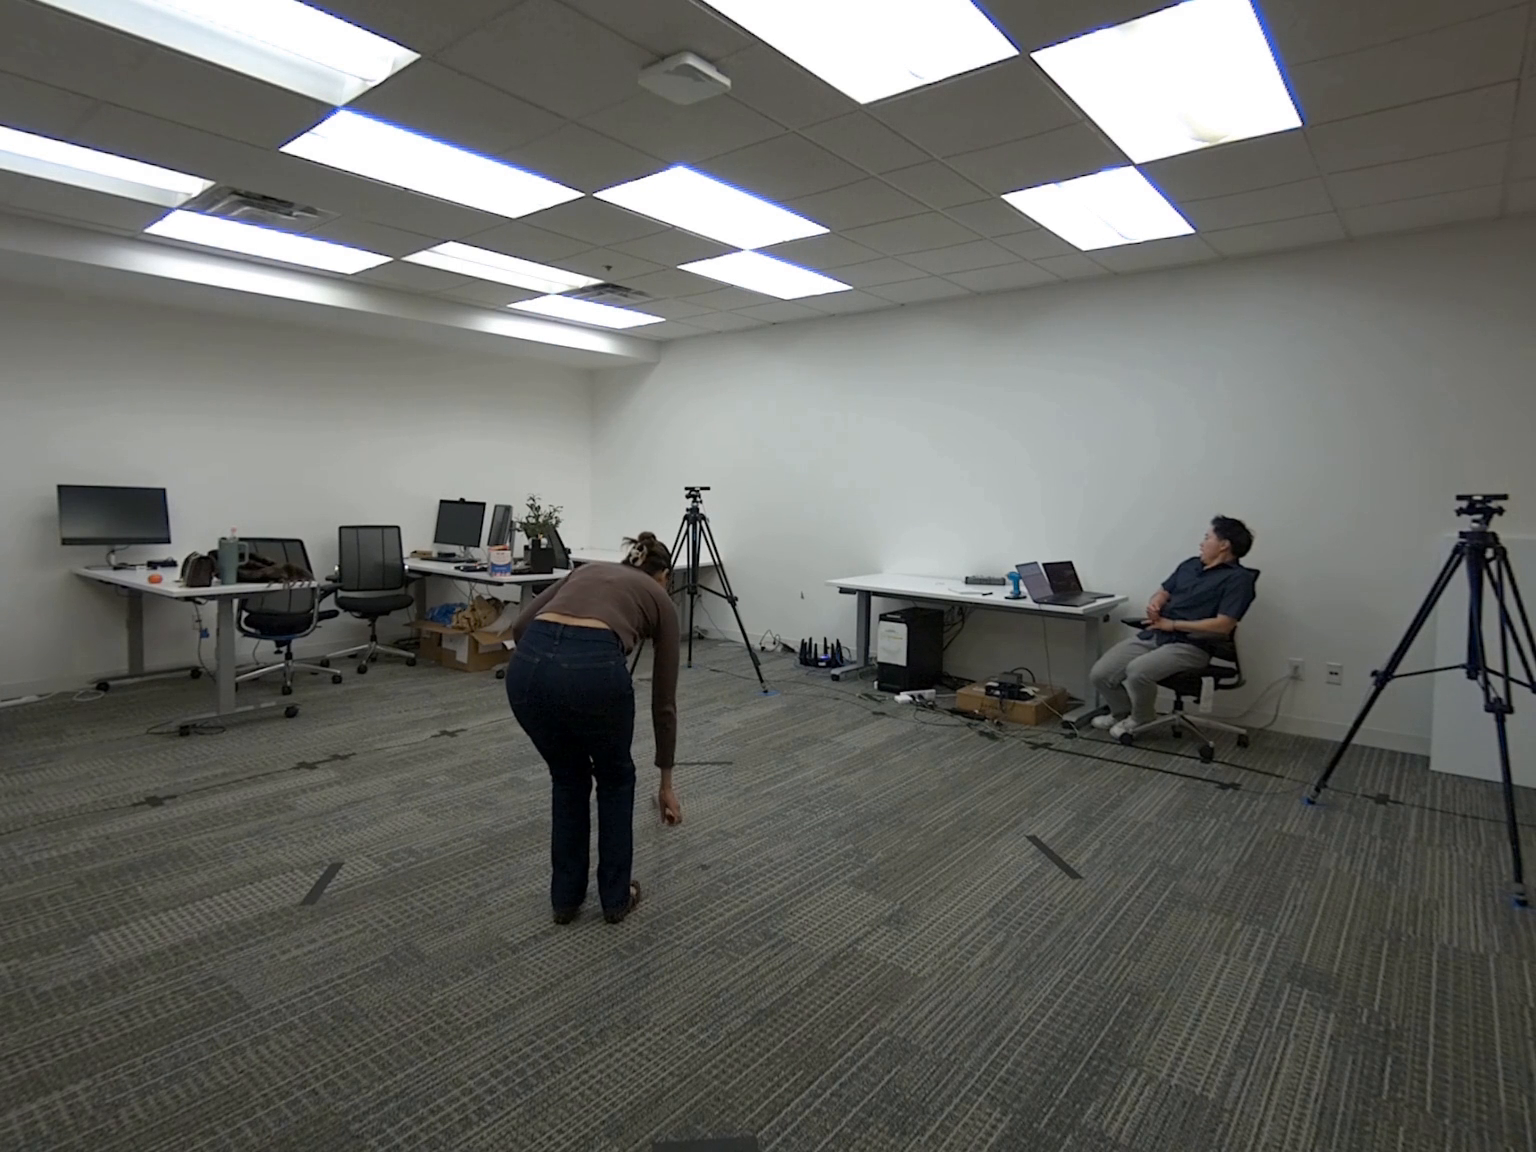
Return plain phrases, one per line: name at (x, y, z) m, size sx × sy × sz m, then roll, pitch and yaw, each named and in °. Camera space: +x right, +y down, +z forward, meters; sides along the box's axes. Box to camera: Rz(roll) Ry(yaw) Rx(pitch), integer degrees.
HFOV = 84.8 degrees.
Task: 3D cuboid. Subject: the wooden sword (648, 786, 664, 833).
wooden sword at (-0.438, 0.907, 3.318) m, size 0.024 × 0.051 × 1.020 m, roll -44°, pitch -1°, yaw -11°
